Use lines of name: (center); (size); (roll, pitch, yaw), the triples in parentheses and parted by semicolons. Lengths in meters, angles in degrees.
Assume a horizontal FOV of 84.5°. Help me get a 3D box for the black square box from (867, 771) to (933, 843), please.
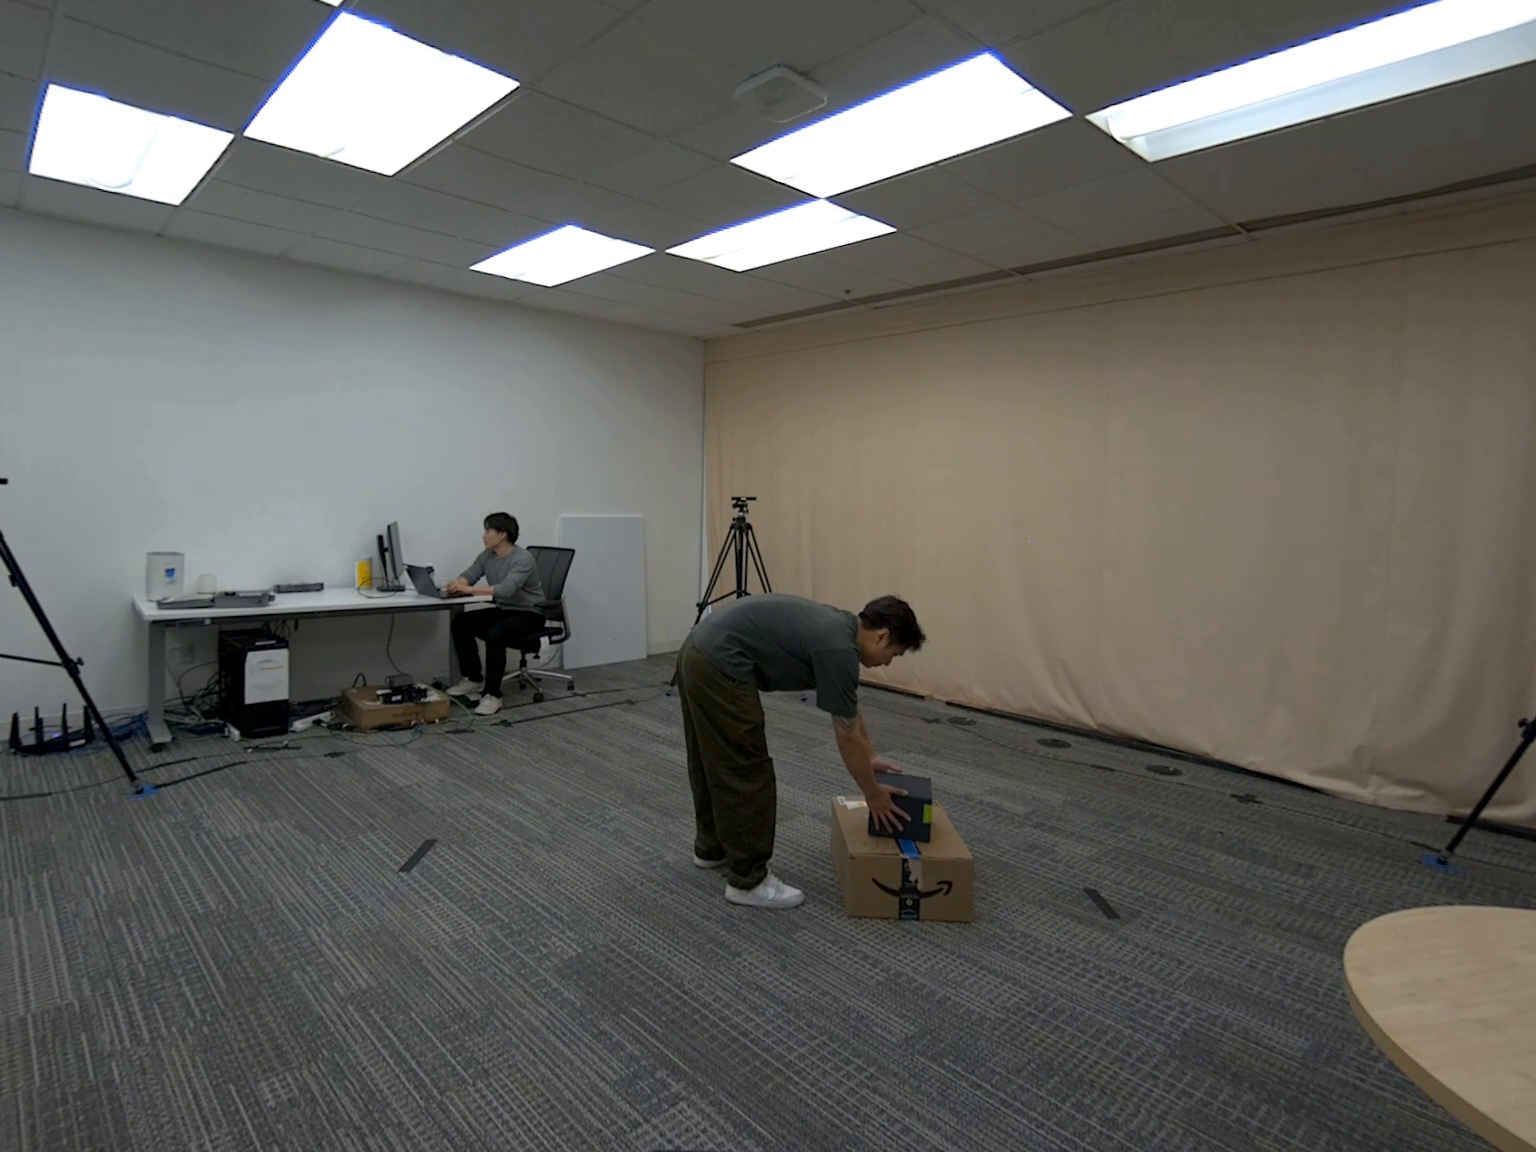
black square box: (0.475, 0.829, 3.046); (0.219, 0.155, 0.227); (4, 6, 10)
